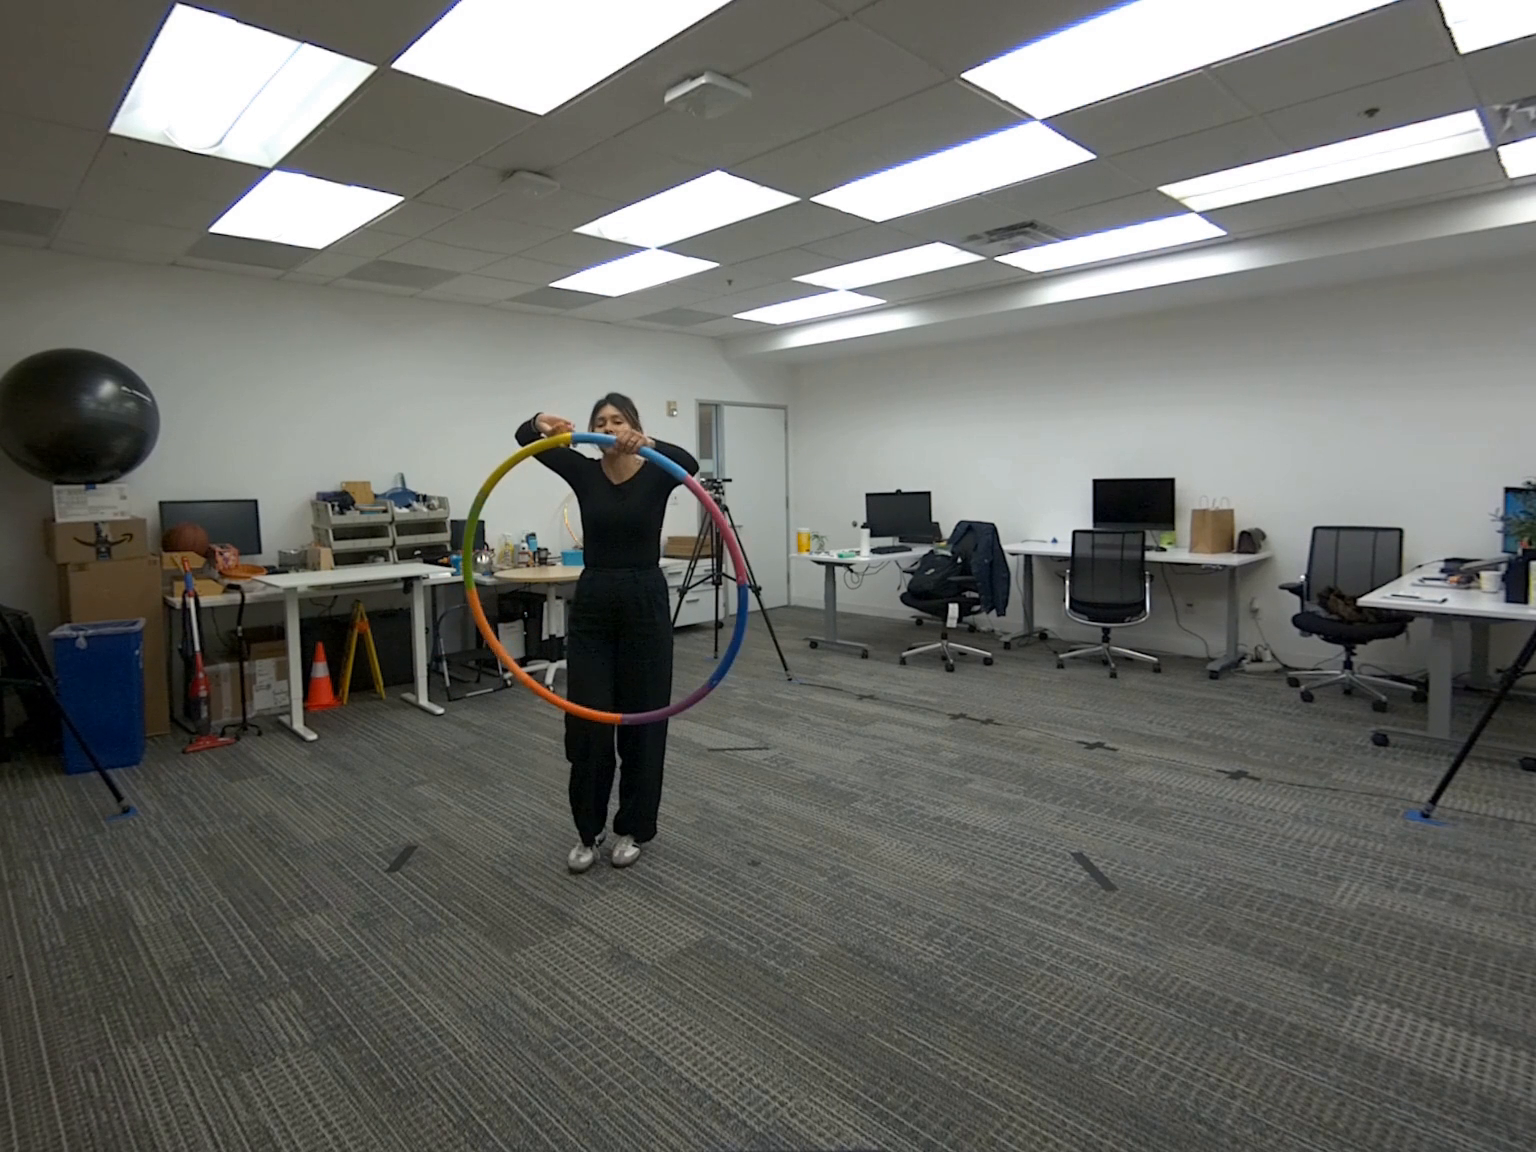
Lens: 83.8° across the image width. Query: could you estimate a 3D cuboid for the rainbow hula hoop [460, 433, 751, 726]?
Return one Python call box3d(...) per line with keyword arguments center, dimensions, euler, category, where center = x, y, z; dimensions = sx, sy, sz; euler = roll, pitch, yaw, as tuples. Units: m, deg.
box3d(center=(-0.538, 0.036, 2.718), dimensions=(1.001, 0.970, 0.051), euler=(1, 17, 17), category="rainbow hula hoop")
